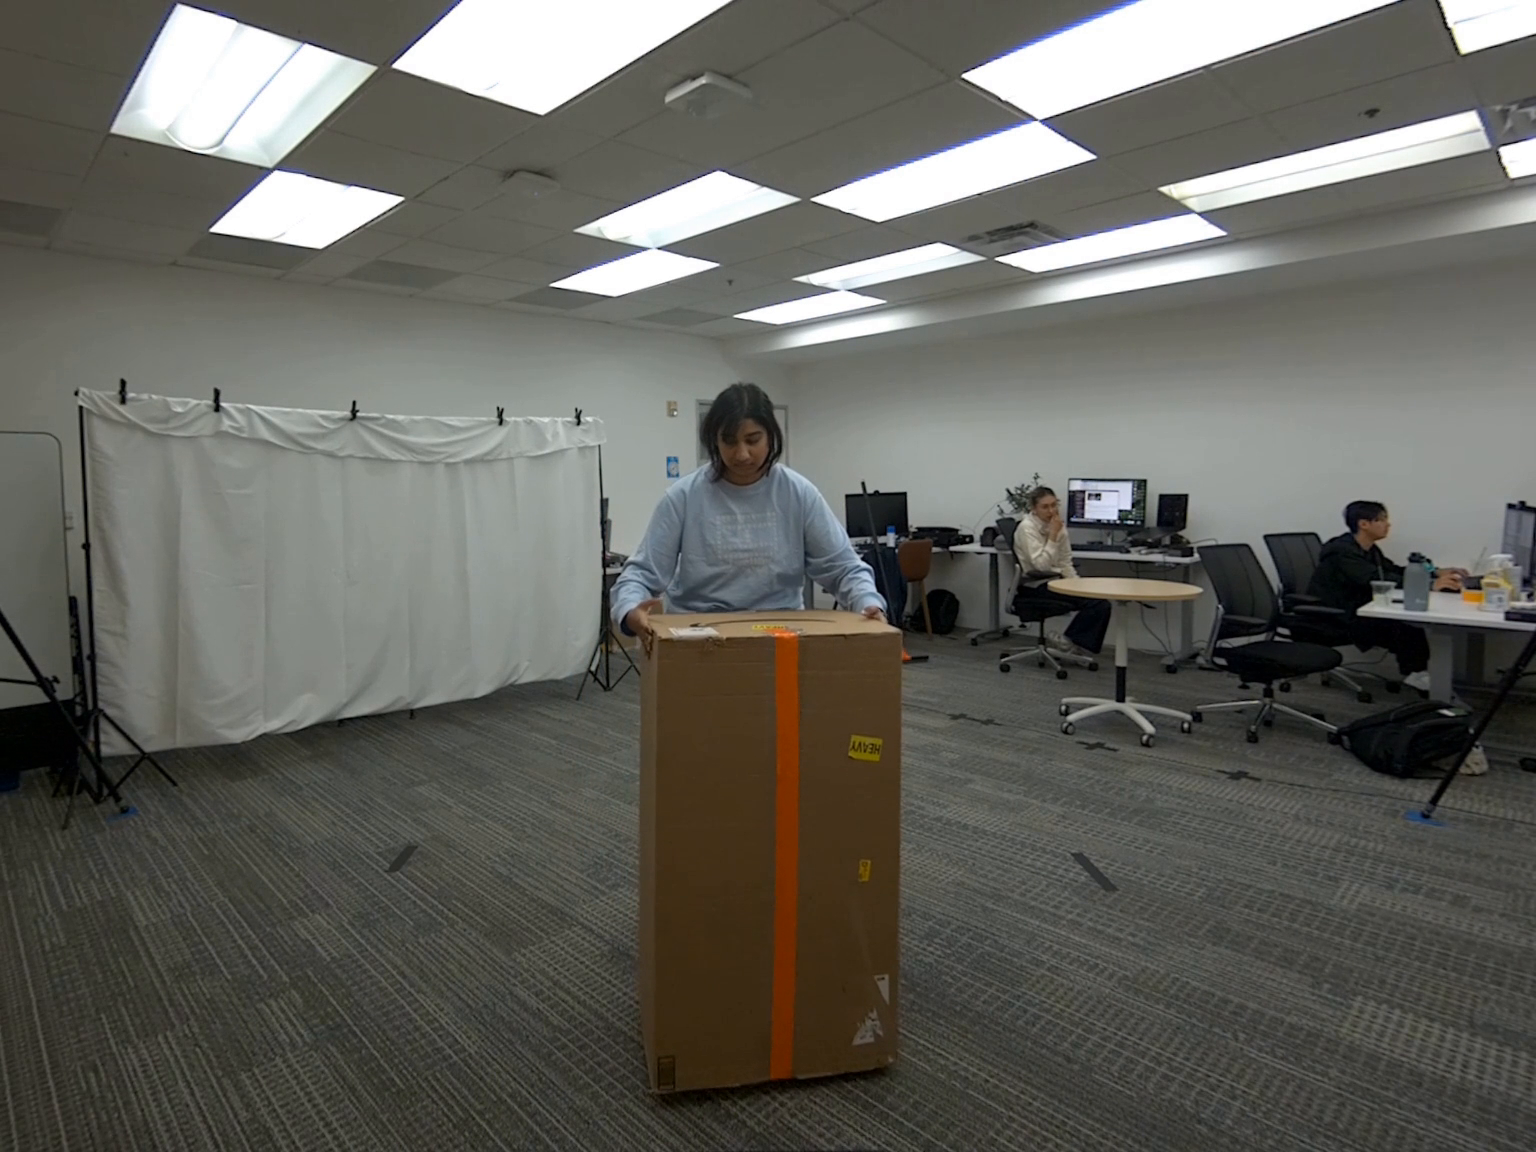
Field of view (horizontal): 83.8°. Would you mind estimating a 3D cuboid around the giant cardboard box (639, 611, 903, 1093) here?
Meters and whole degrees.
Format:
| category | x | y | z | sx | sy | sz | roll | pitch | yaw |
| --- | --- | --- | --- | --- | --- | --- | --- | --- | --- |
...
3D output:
| category | x | y | z | sx | sy | sz | roll | pitch | yaw |
| --- | --- | --- | --- | --- | --- | --- | --- | --- | --- |
| giant cardboard box | -0.022 | 0.634 | 2.122 | 0.570 | 1.024 | 0.433 | 0 | 2 | -14 |
